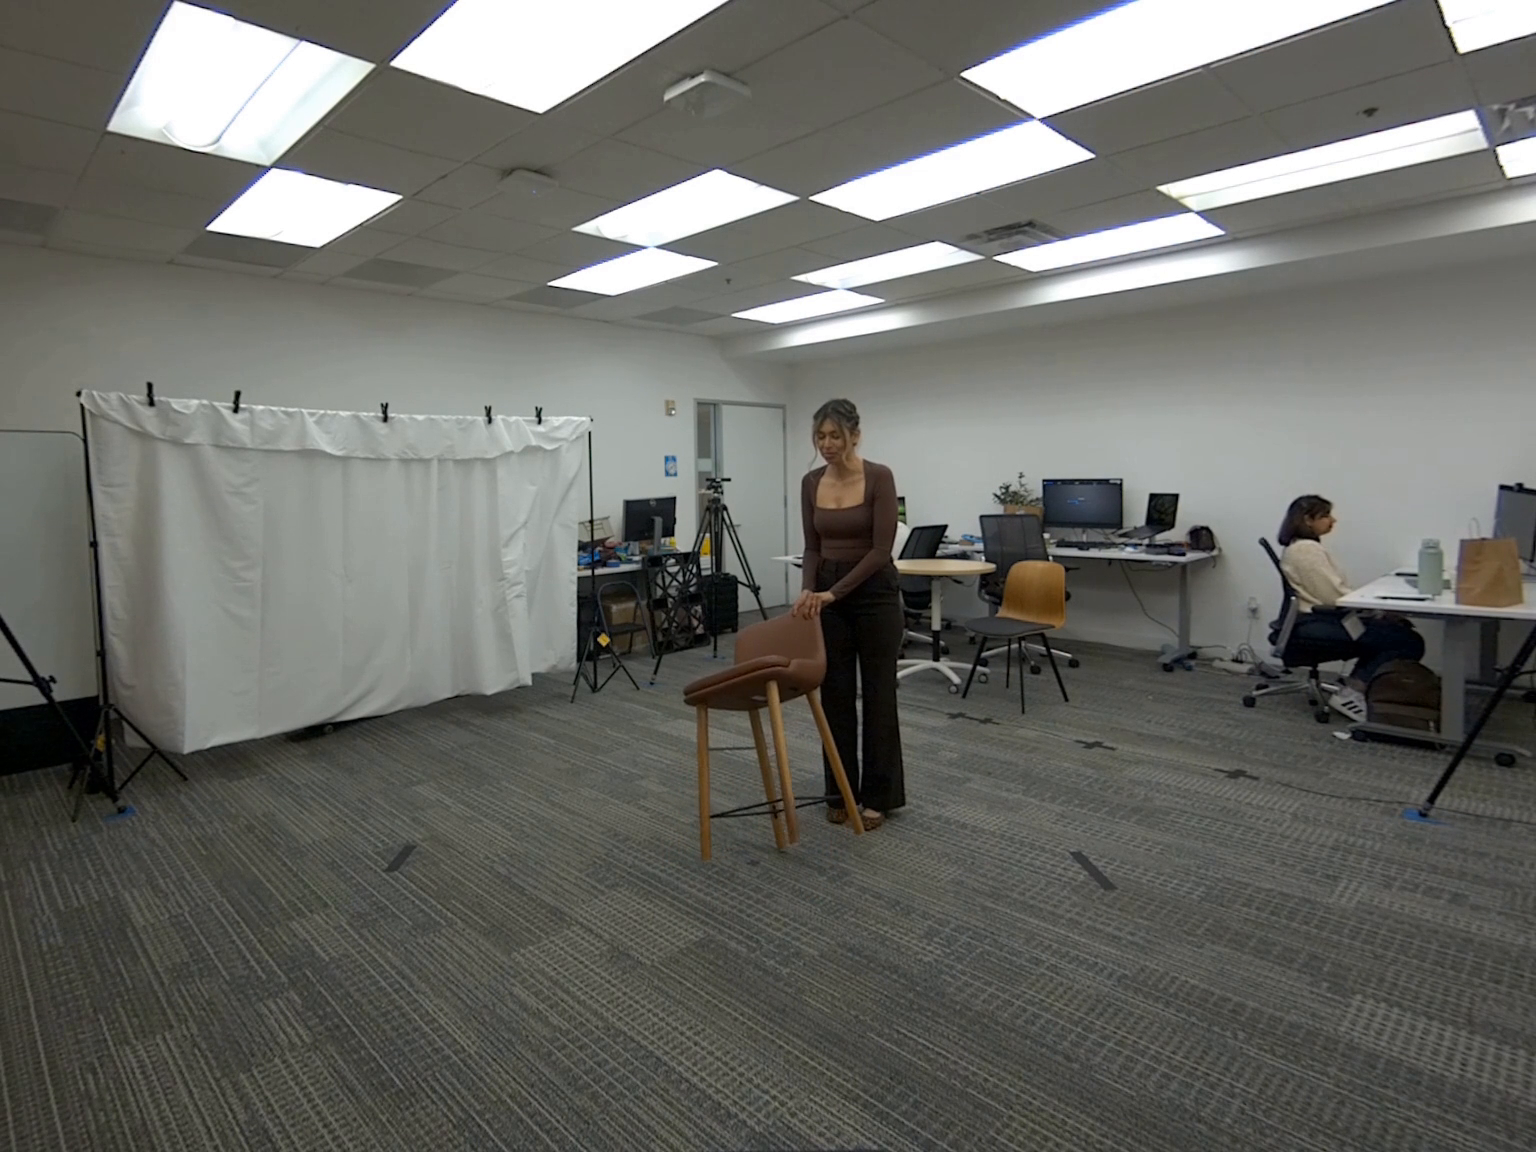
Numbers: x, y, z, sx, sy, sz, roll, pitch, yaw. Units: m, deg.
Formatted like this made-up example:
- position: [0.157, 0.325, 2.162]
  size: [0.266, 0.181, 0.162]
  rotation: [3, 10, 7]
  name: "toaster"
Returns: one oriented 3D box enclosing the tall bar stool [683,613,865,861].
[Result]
- position: [-0.007, 0.533, 3.112]
  size: [0.463, 0.910, 0.451]
  rotation: [-24, -27, 32]
  name: "tall bar stool"
